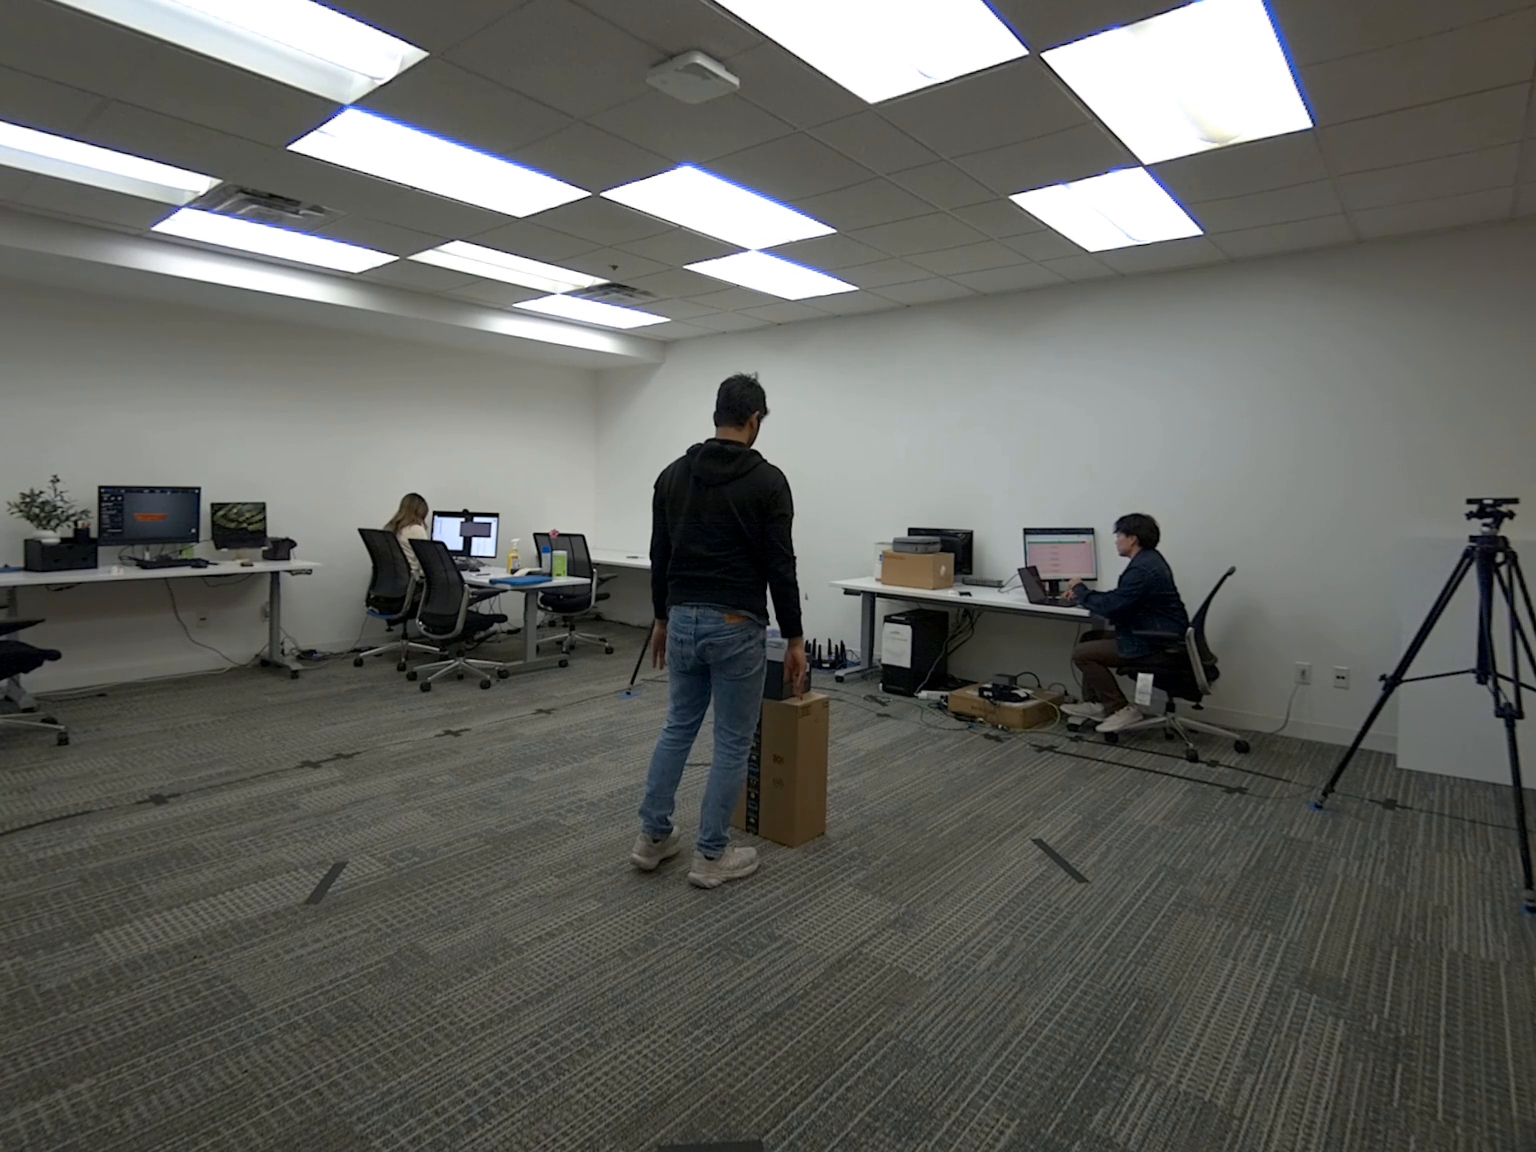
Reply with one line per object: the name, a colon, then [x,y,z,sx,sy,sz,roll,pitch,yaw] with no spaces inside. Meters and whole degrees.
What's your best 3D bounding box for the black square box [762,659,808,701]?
black square box: [0.014,0.387,3.469,0.235,0.155,0.211,4,6,36]
